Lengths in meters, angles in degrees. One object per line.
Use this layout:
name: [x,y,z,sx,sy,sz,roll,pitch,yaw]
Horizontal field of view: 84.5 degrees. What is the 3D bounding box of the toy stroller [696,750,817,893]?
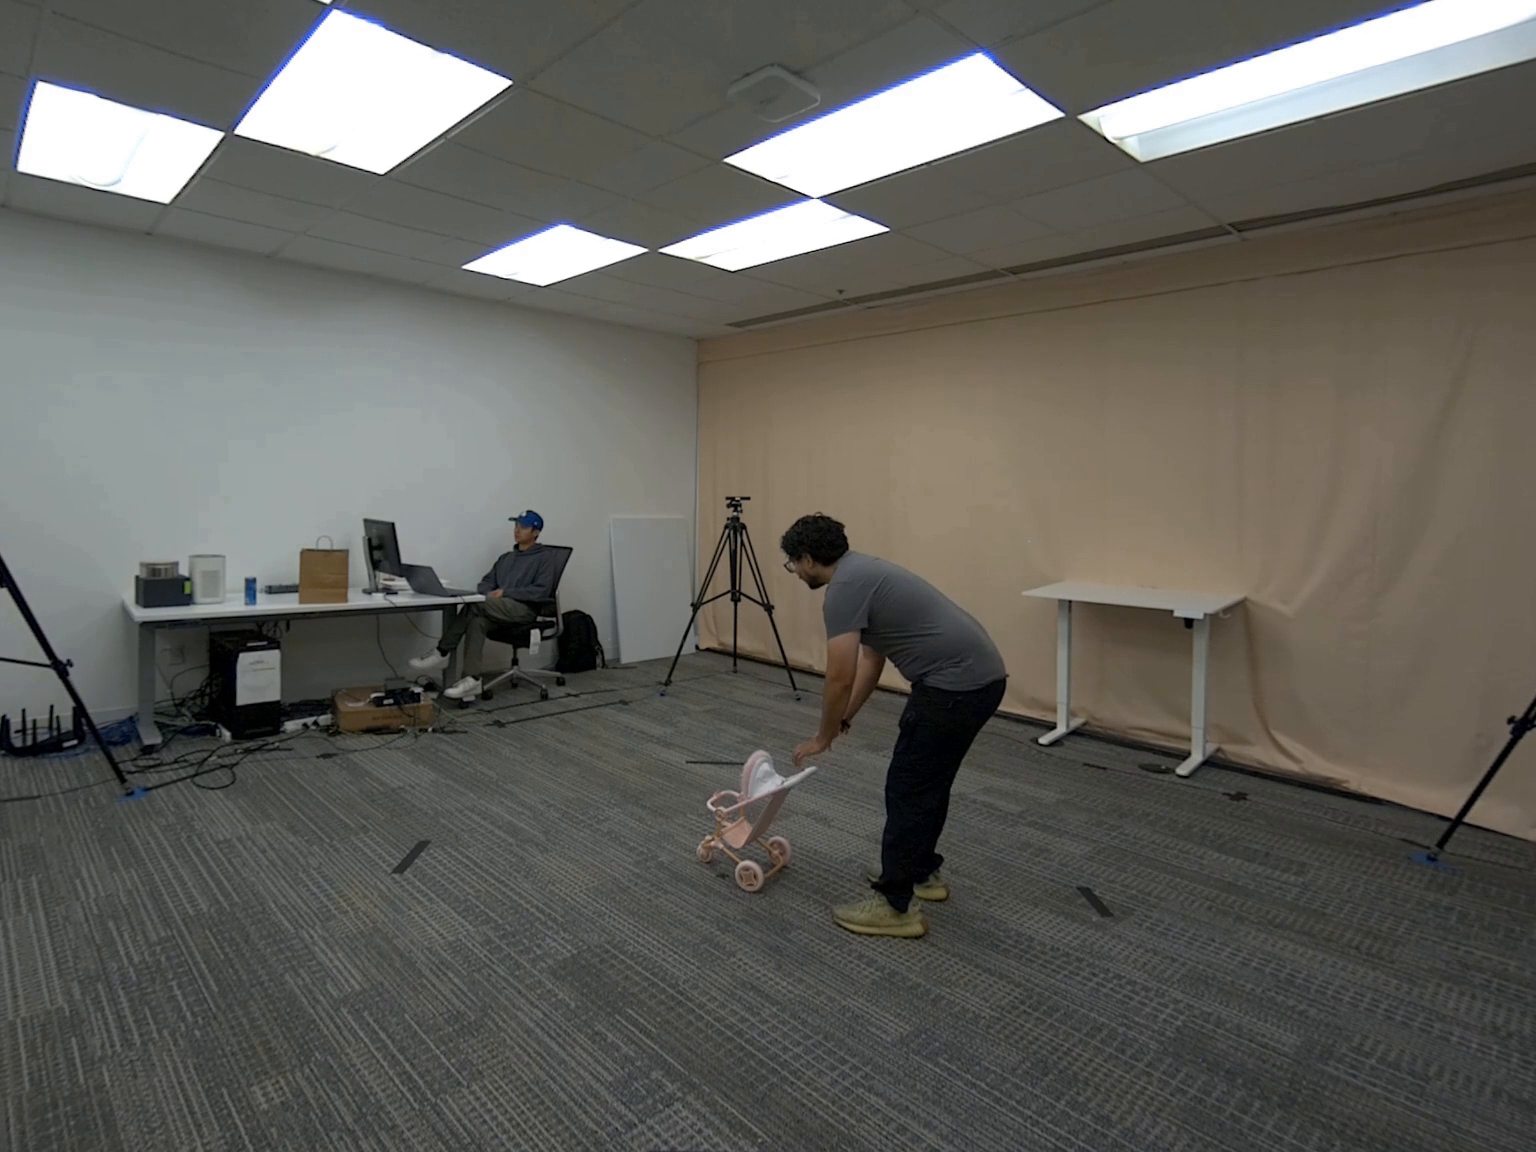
toy stroller: [-0.069,0.885,3.119,0.350,0.532,0.276,23,13,29]
